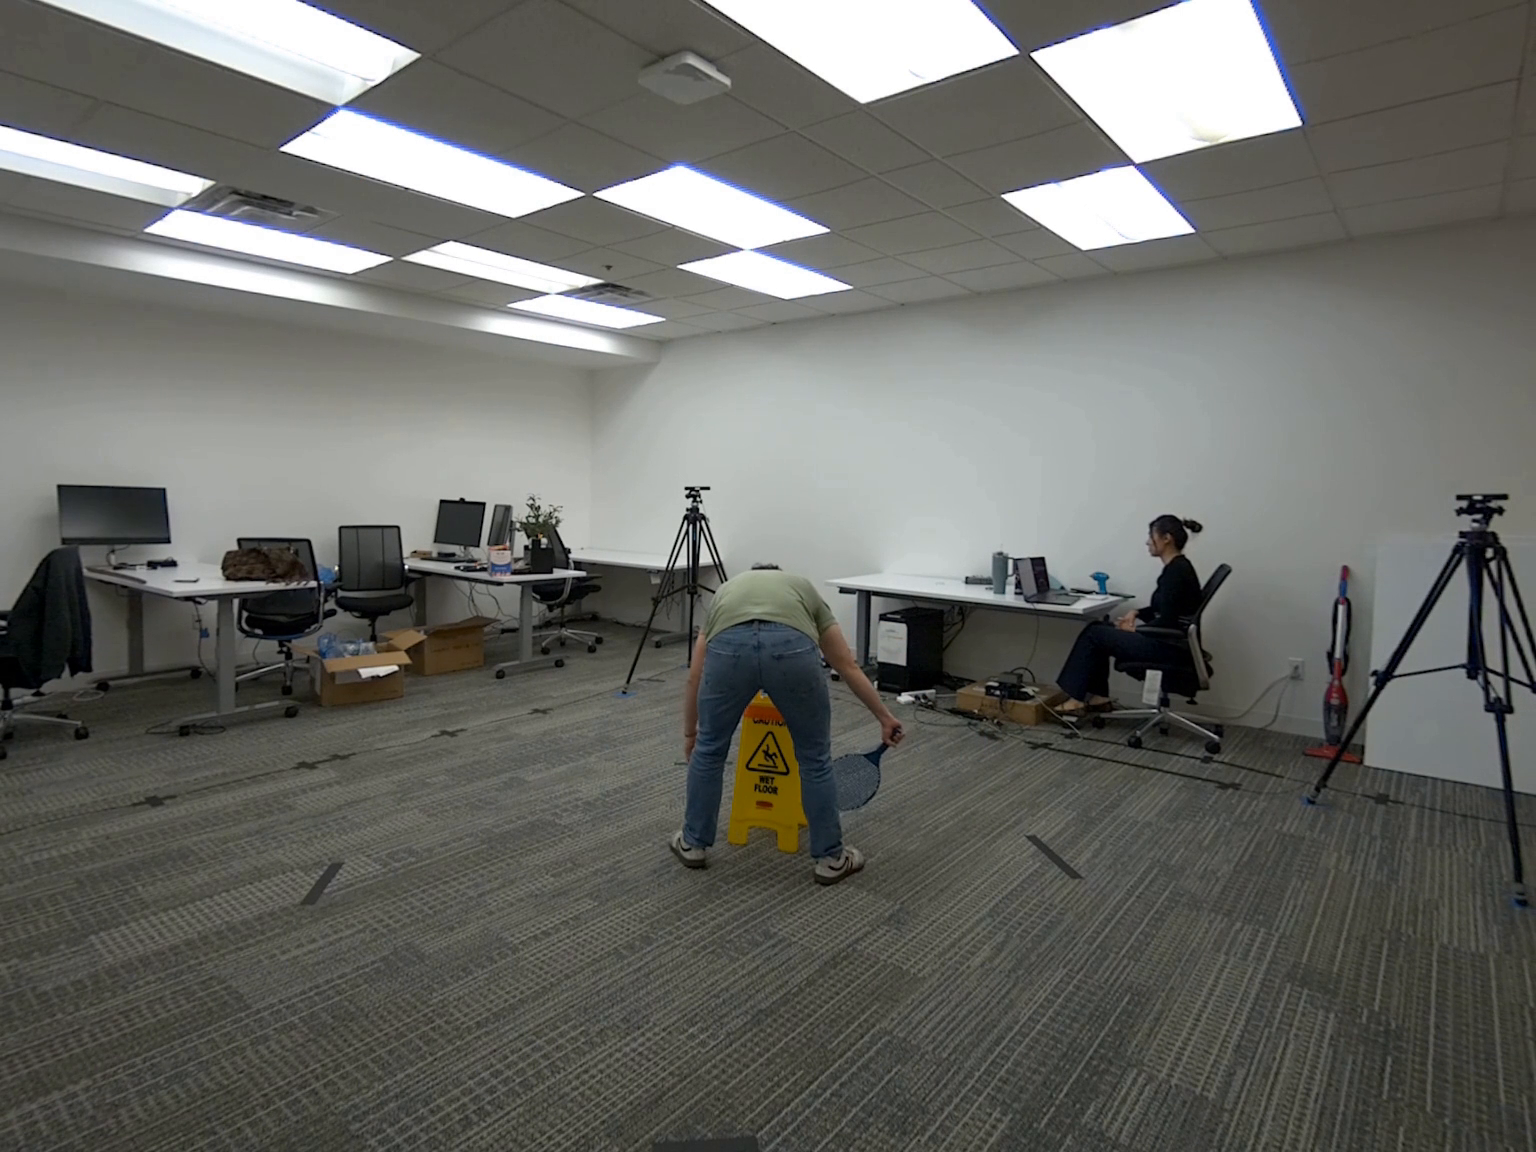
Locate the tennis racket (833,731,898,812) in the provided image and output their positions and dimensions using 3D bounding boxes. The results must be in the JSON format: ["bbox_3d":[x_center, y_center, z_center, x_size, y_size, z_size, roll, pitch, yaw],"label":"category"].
[{"bbox_3d":[0.366,0.757,3.333,0.212,0.433,0.032,40,8,-6],"label":"tennis racket"}]
